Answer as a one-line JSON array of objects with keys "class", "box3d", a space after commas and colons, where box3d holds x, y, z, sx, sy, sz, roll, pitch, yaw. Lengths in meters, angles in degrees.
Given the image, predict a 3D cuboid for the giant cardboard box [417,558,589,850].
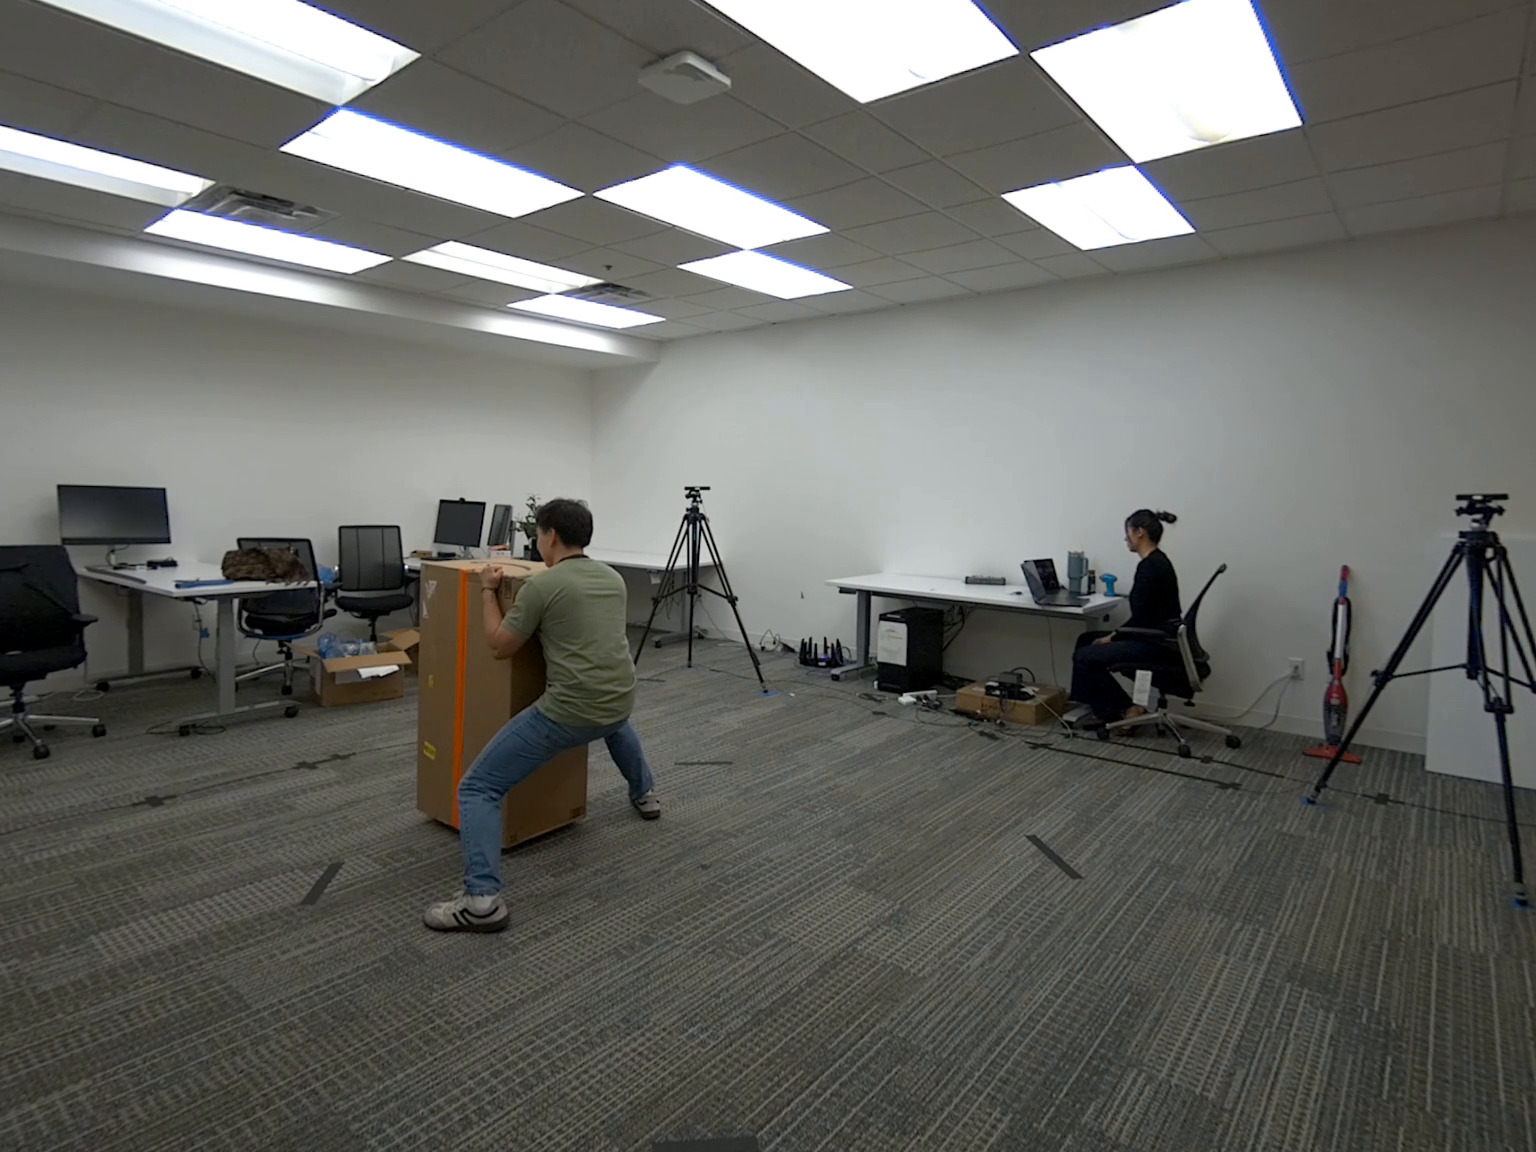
[{"class": "giant cardboard box", "box3d": [-1.095, 0.473, 3.470, 0.596, 1.023, 0.414, 4, 4, 35]}]
